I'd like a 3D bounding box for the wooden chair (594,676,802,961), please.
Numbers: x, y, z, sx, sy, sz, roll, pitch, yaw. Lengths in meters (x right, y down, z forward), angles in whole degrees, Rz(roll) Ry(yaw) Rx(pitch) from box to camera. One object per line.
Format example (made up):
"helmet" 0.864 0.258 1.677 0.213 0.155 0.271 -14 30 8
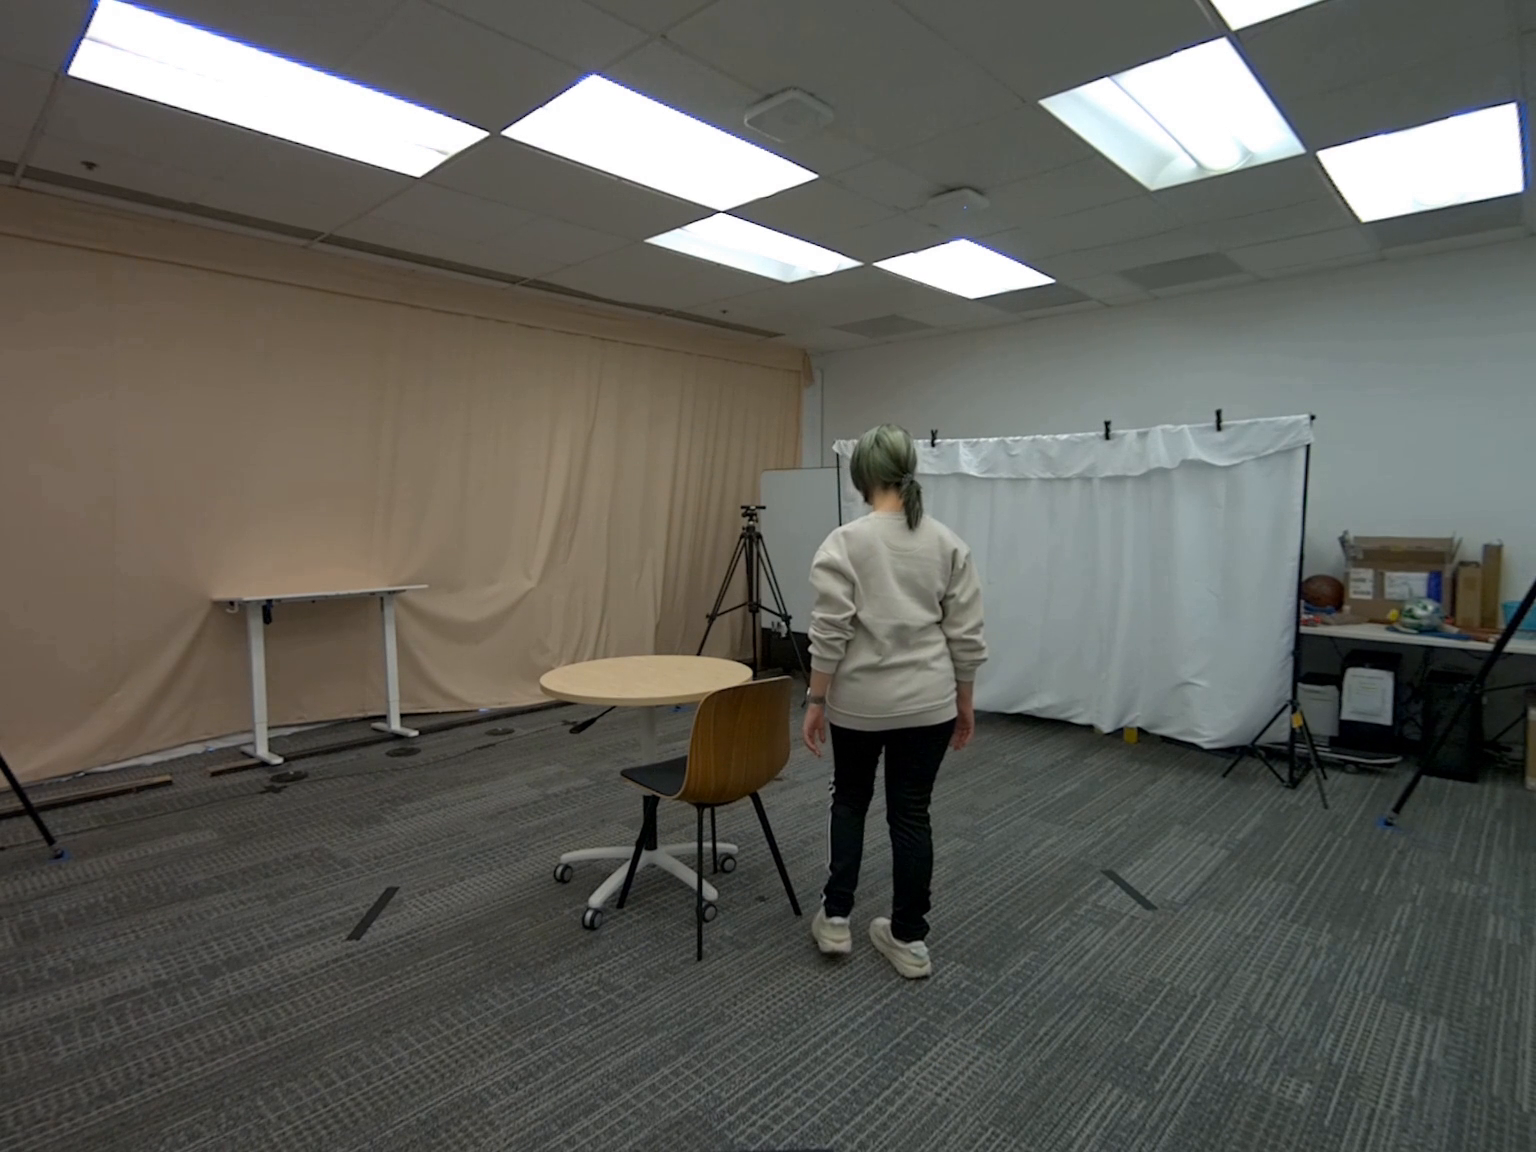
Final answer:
"wooden chair" -0.210 0.728 2.868 0.464 0.874 0.541 -4 9 -41
